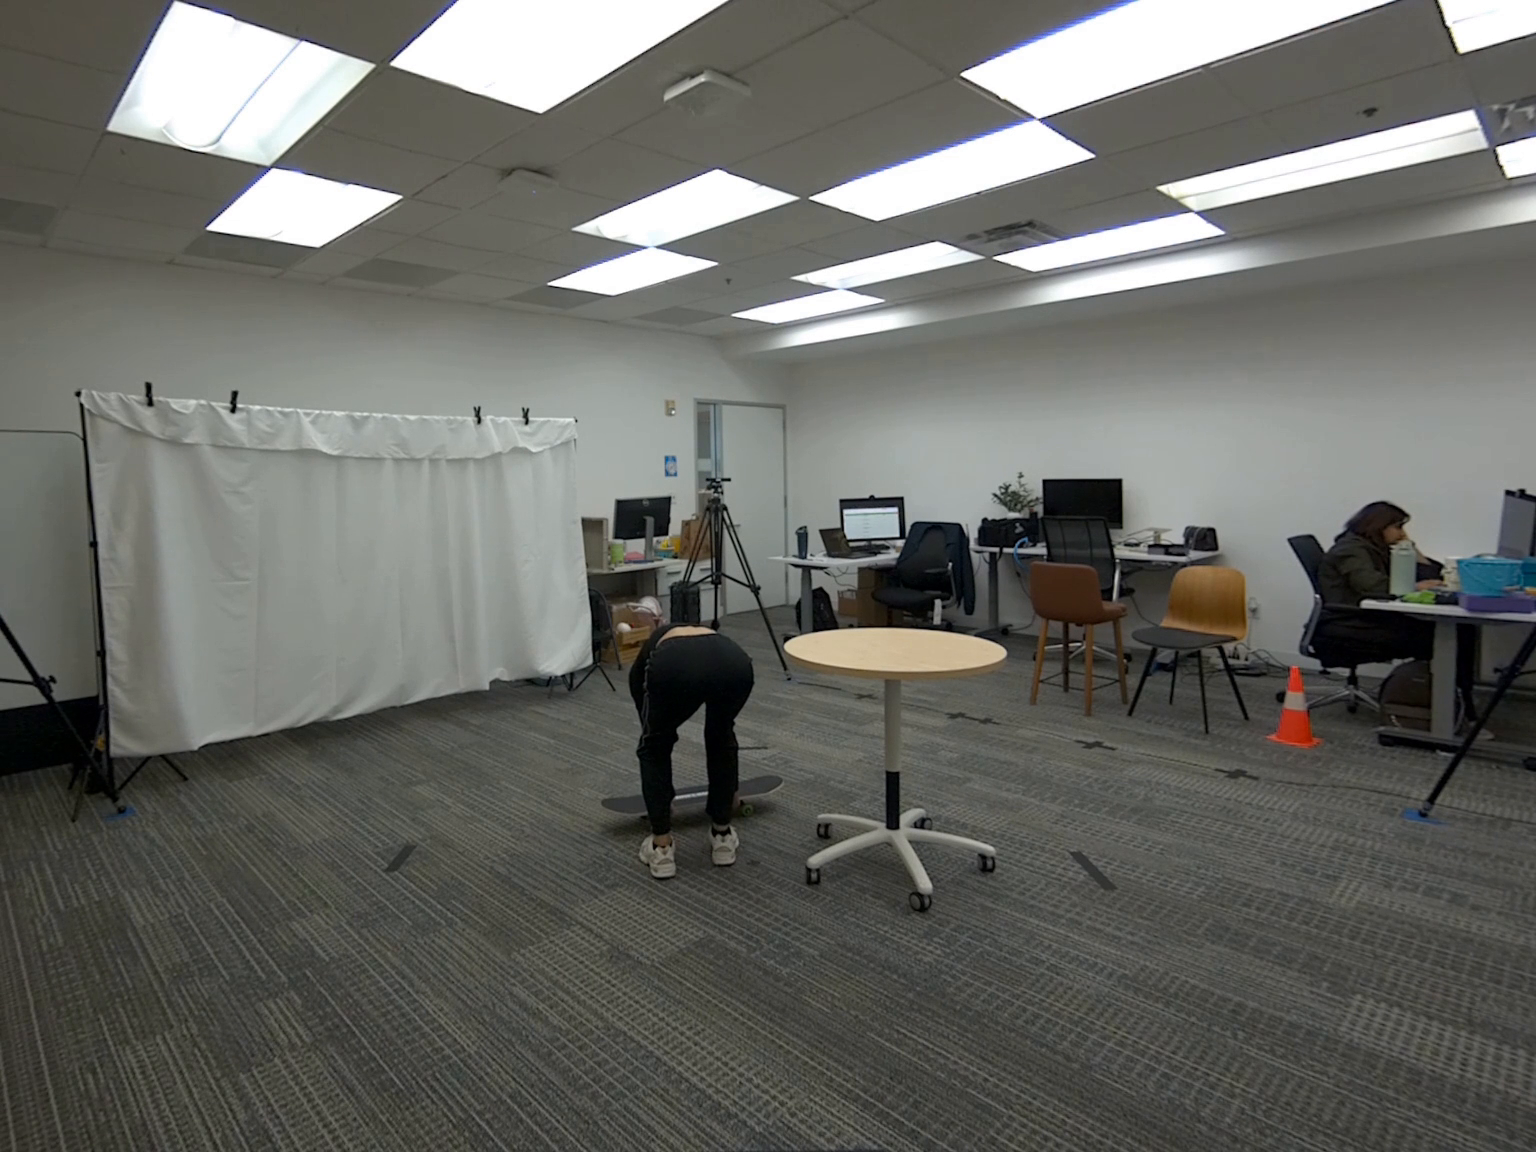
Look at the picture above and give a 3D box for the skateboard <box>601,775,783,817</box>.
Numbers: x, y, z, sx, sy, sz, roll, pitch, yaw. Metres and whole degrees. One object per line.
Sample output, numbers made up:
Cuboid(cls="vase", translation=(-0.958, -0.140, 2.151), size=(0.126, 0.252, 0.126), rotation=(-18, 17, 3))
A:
Cuboid(cls="skateboard", translation=(-0.300, 0.933, 3.533), size=(0.771, 0.110, 0.198), rotation=(-3, 6, -20))
